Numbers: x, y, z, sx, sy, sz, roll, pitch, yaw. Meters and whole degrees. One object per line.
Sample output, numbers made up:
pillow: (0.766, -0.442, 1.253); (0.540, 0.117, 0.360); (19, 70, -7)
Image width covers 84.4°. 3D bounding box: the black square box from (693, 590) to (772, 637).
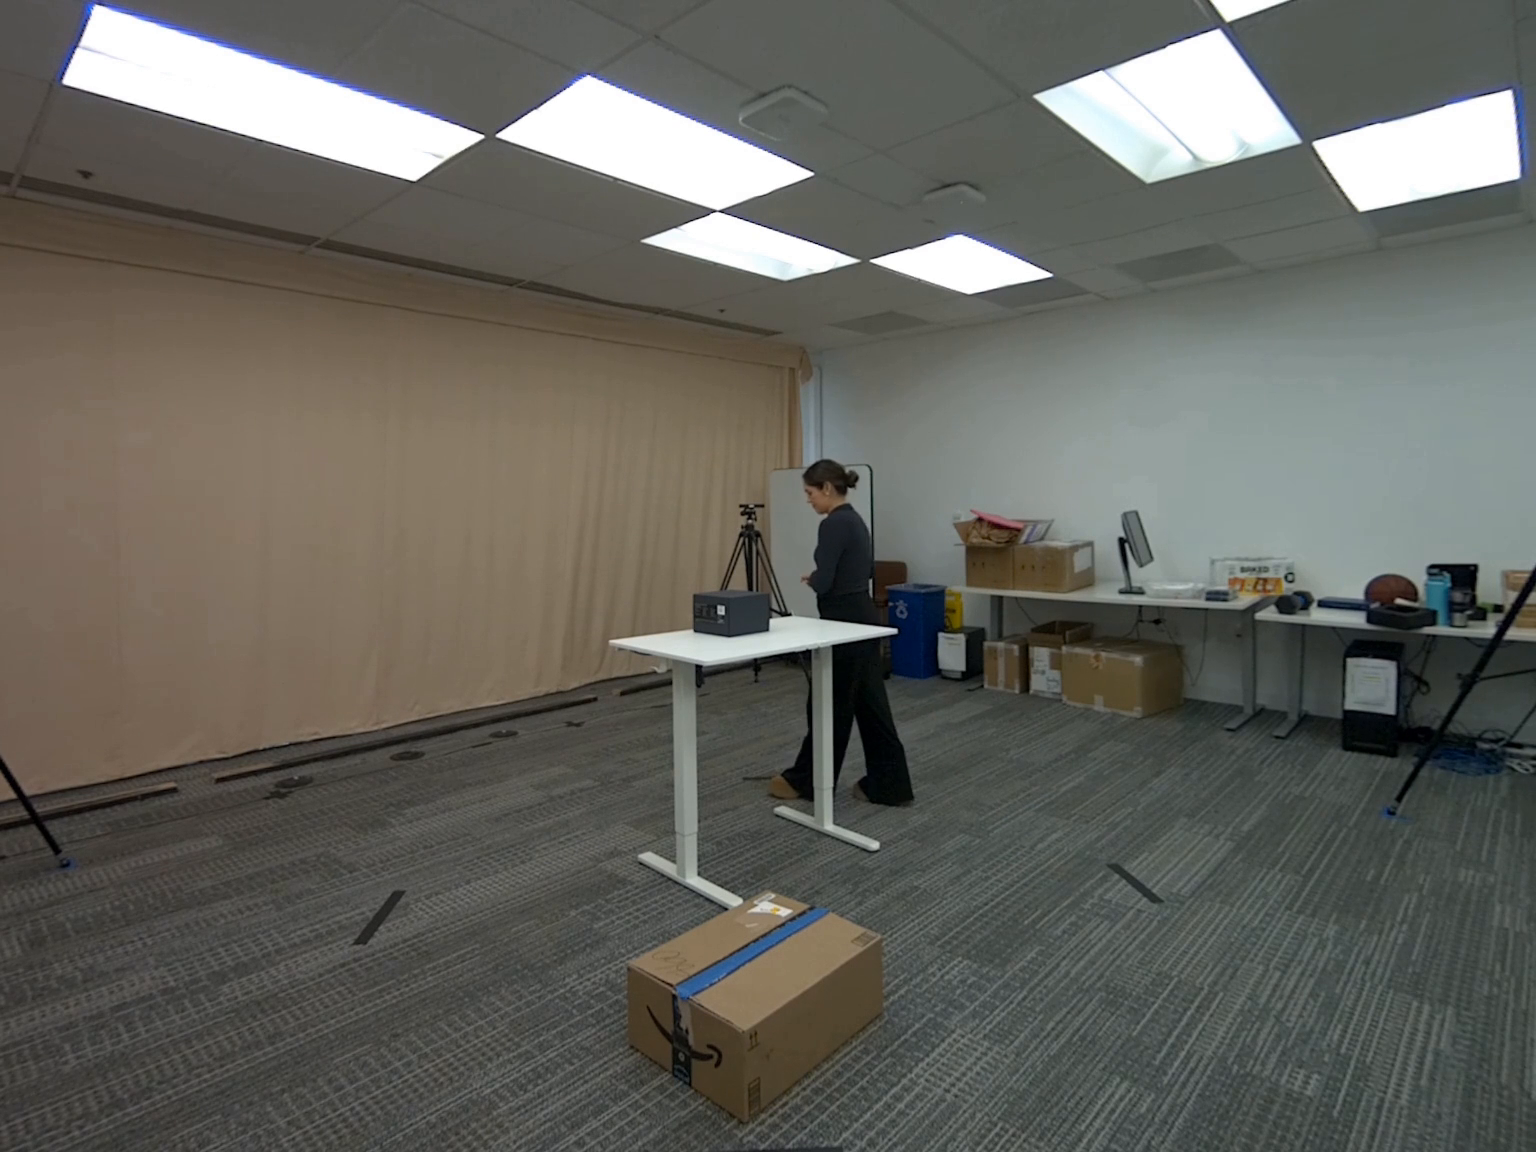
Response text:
black square box: (-0.145, 0.147, 3.392); (0.221, 0.155, 0.224); (-5, 6, -44)
